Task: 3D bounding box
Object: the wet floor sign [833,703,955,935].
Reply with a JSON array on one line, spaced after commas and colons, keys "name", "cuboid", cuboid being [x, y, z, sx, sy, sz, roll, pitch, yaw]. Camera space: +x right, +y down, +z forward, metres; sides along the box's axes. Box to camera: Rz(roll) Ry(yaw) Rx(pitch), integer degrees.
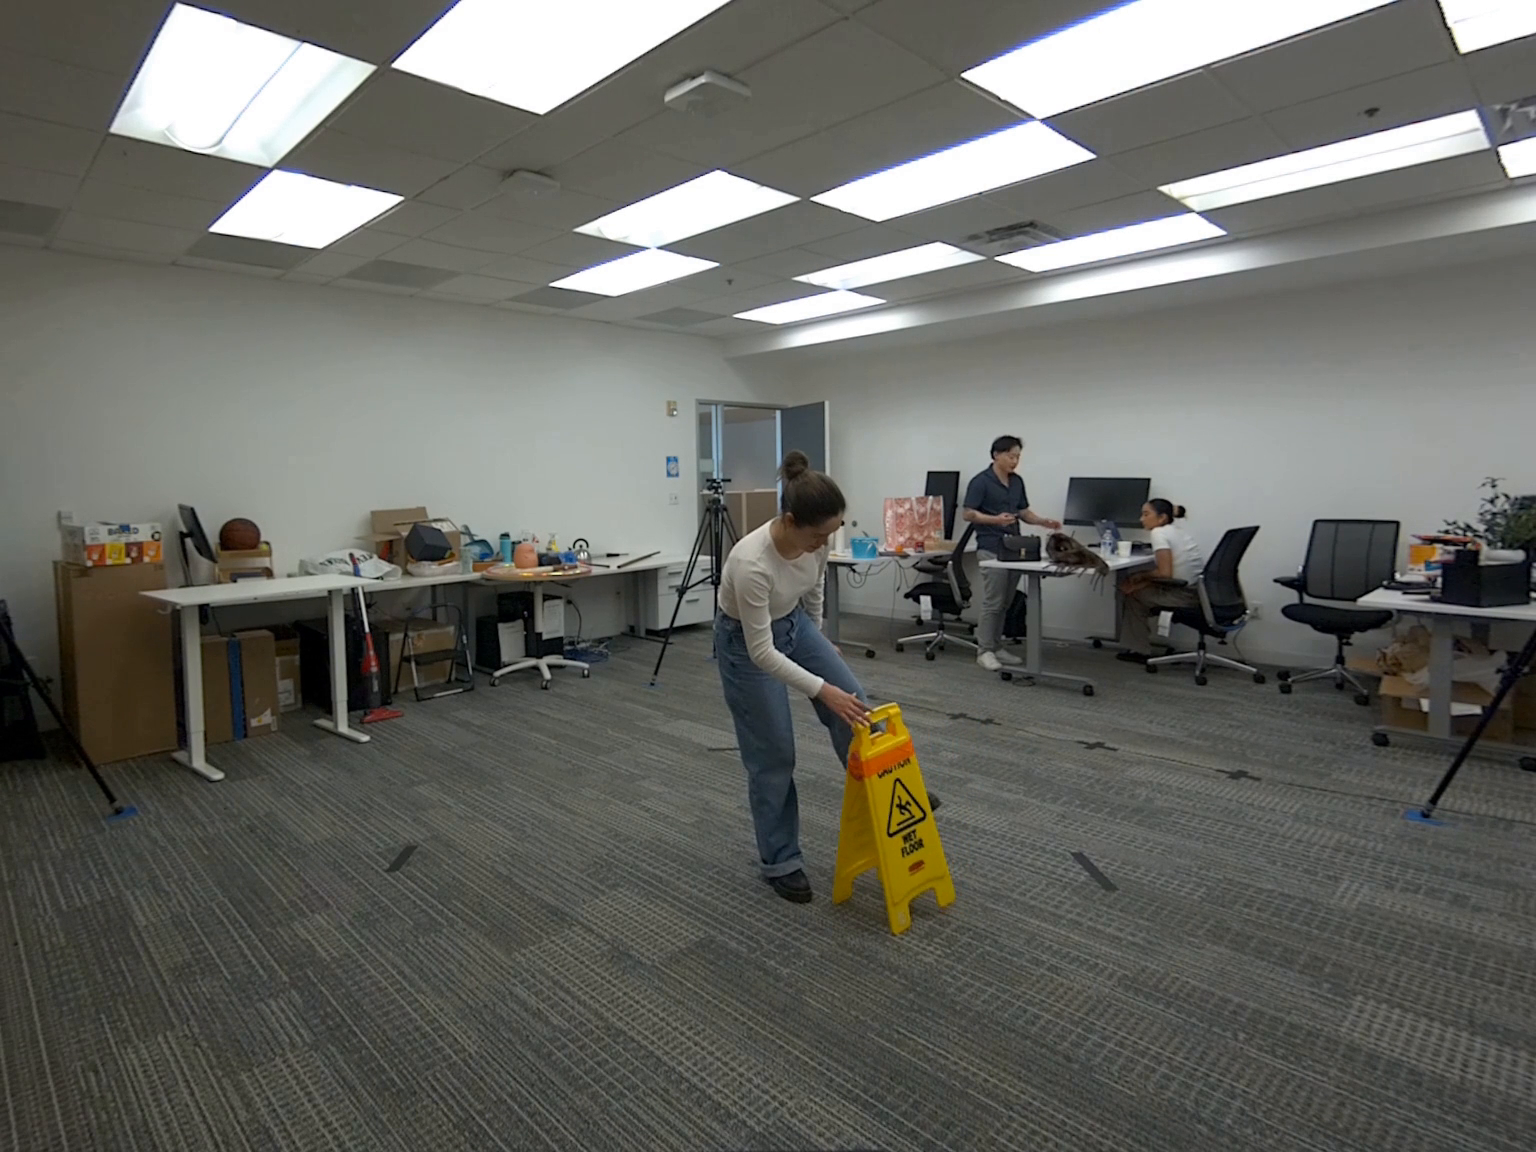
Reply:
[{"name": "wet floor sign", "cuboid": [0.372, 0.744, 2.739, 0.276, 0.641, 0.298, -12, 9, -38]}]
